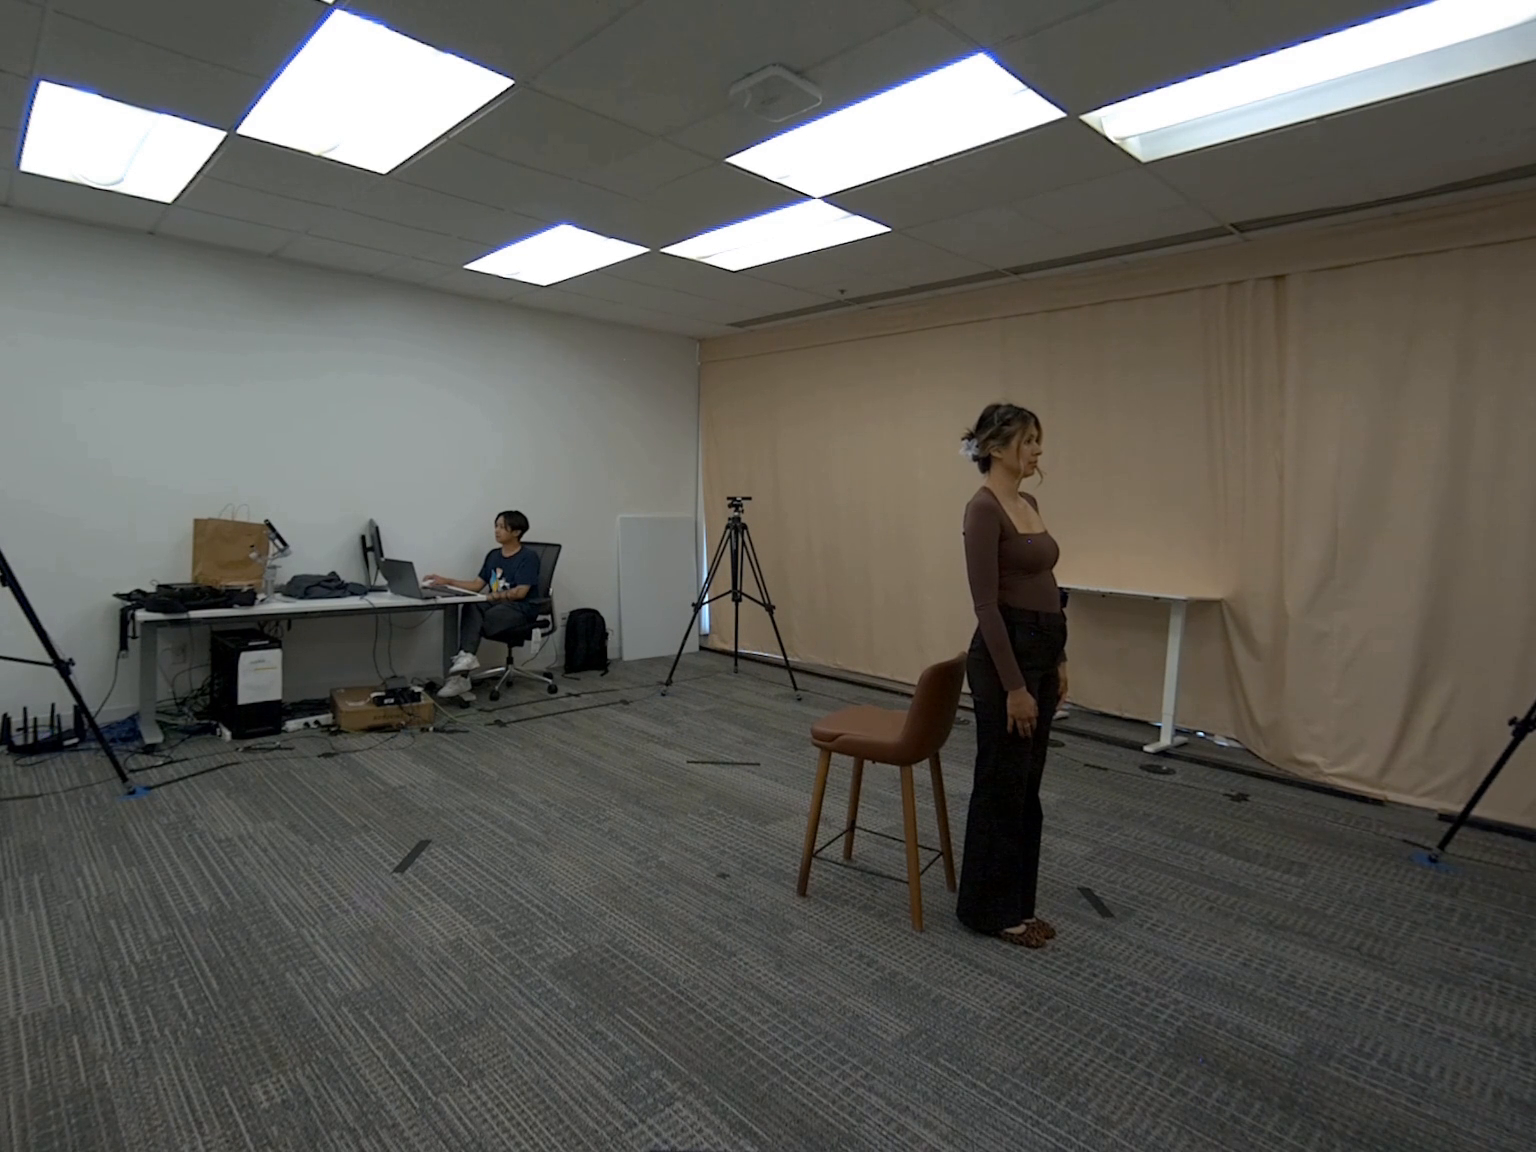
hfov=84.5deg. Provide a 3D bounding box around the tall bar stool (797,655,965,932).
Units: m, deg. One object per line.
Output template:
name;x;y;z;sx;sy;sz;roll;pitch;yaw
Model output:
tall bar stool;0.410;0.694;2.978;0.479;0.887;0.447;7;6;32
